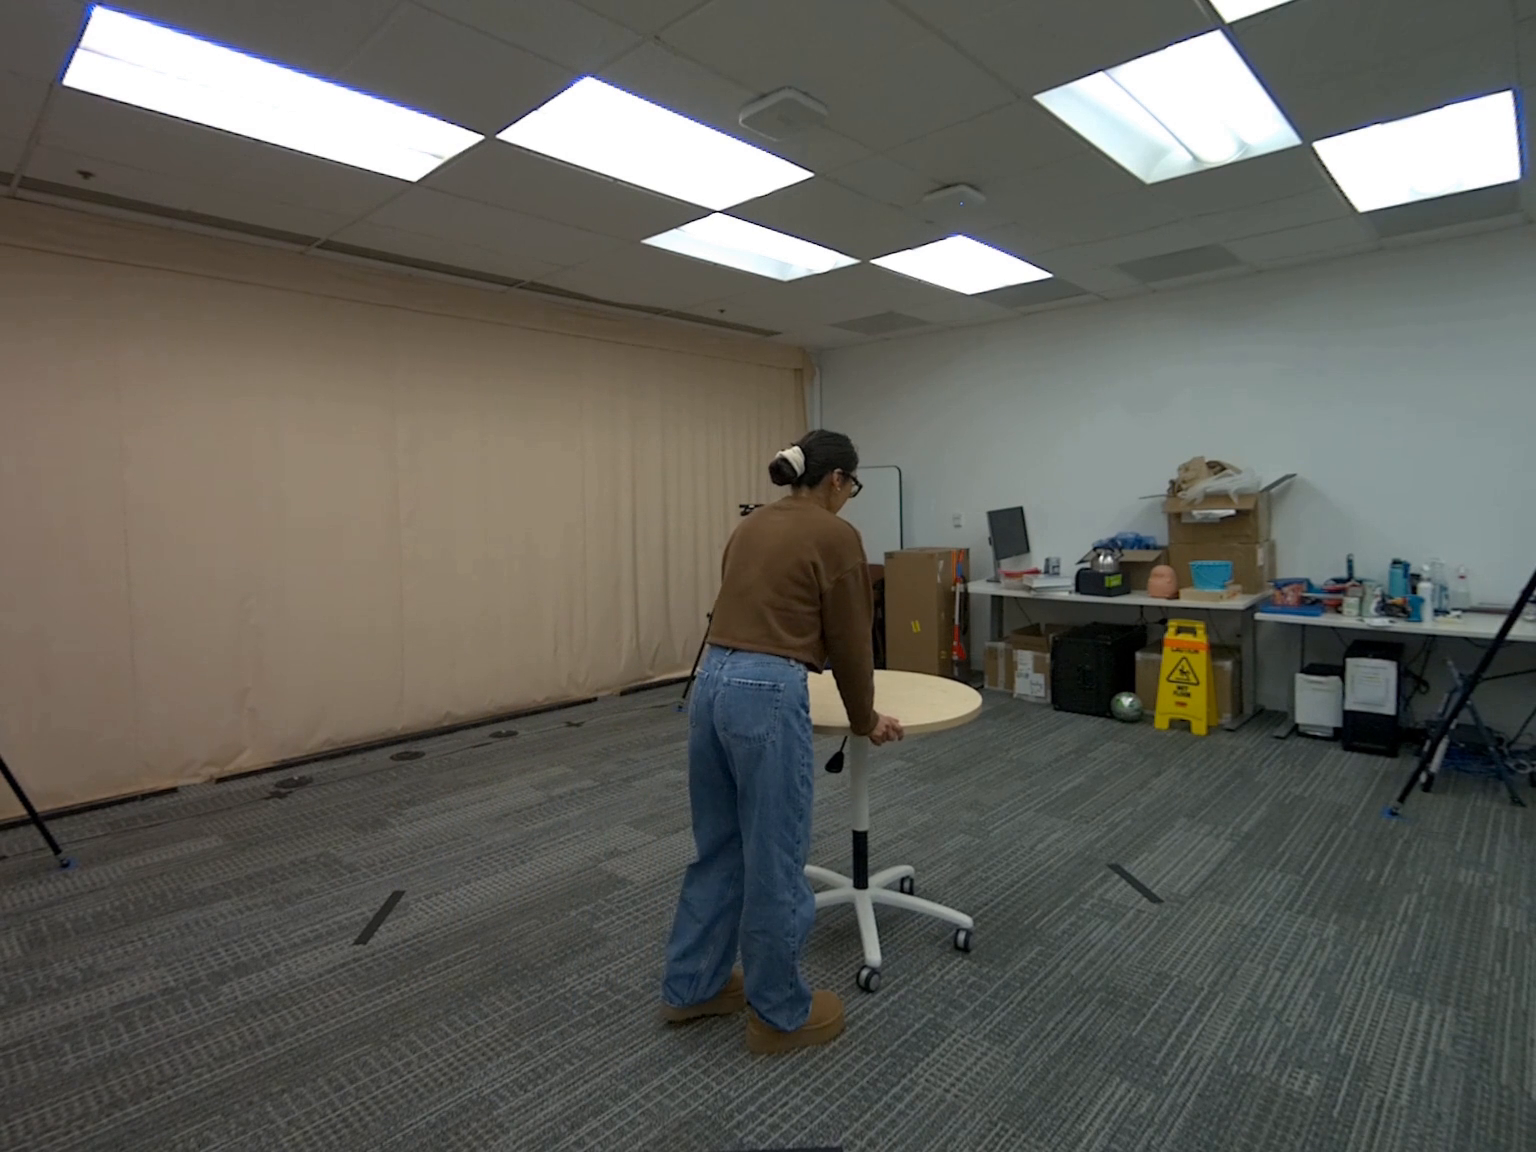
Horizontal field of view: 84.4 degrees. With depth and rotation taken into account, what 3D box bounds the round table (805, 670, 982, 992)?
[{"bbox_3d":[0.307,0.771,2.727,0.763,0.792,0.767,-1,4,-2],"label":"round table"}]
